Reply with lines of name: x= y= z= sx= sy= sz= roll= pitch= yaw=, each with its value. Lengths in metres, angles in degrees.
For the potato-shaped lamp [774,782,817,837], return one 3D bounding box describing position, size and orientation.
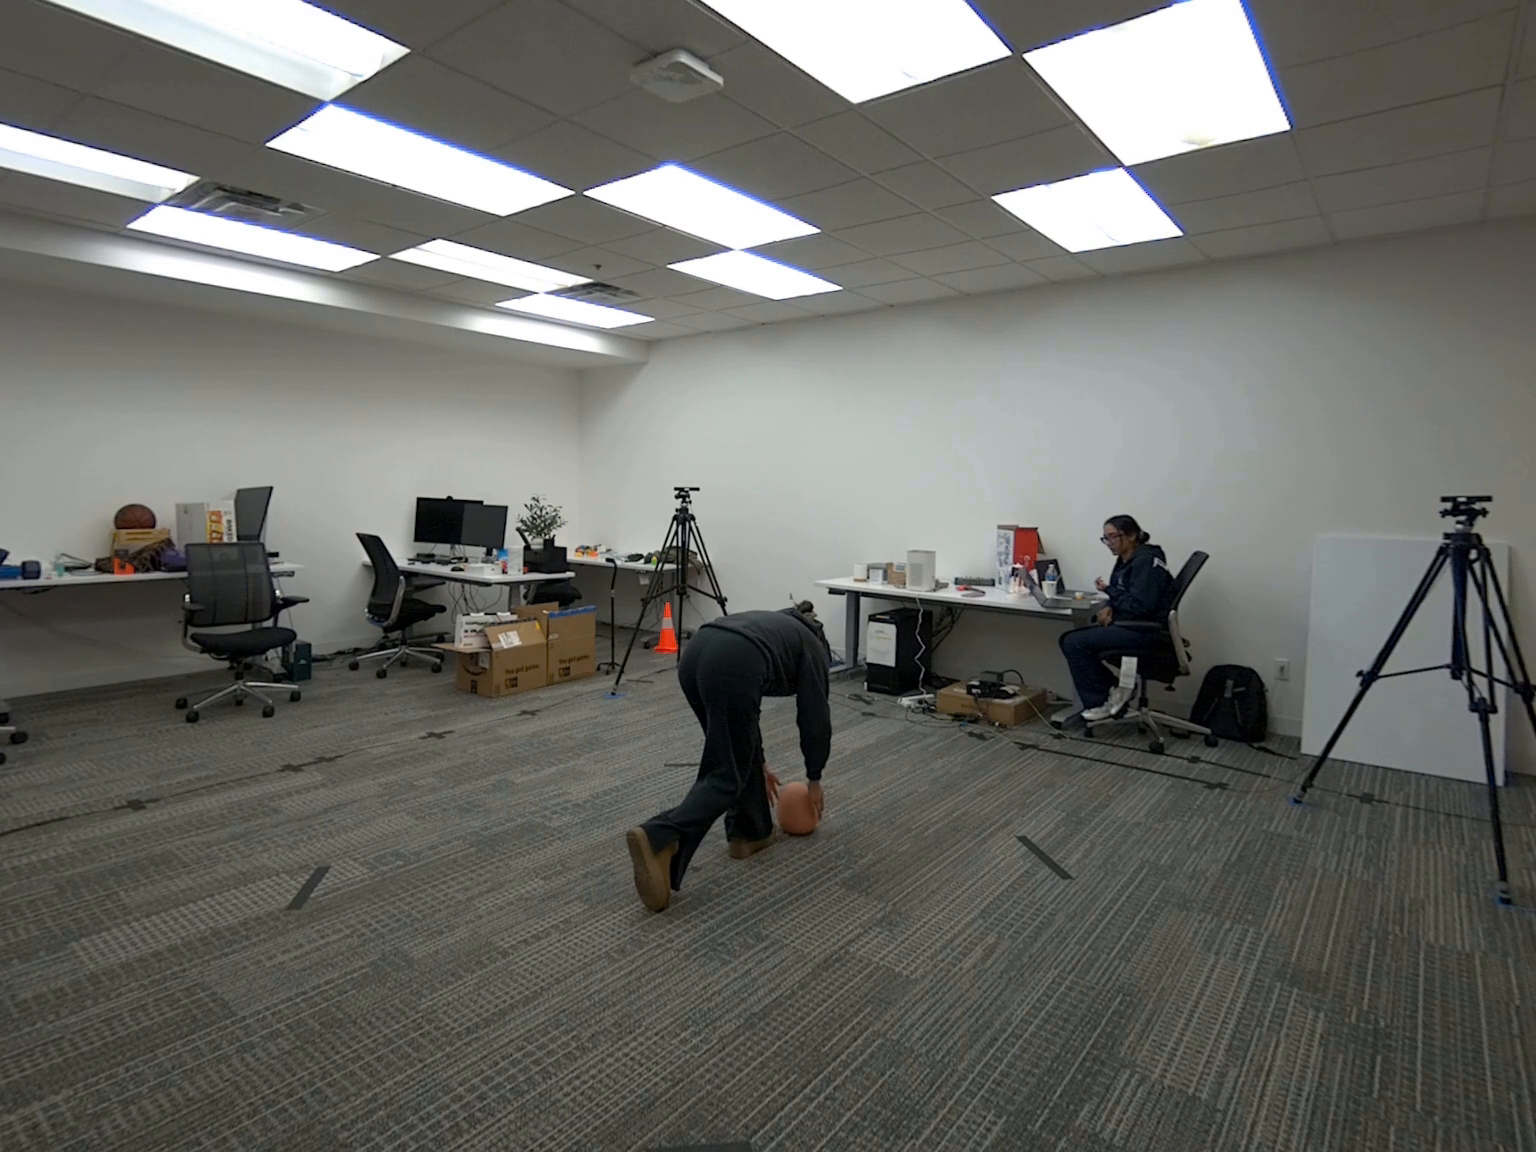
potato-shaped lamp: x=0.111 y=0.931 z=3.468 sx=0.169 sy=0.196 sz=0.168 roll=1 pitch=9 yaw=30
